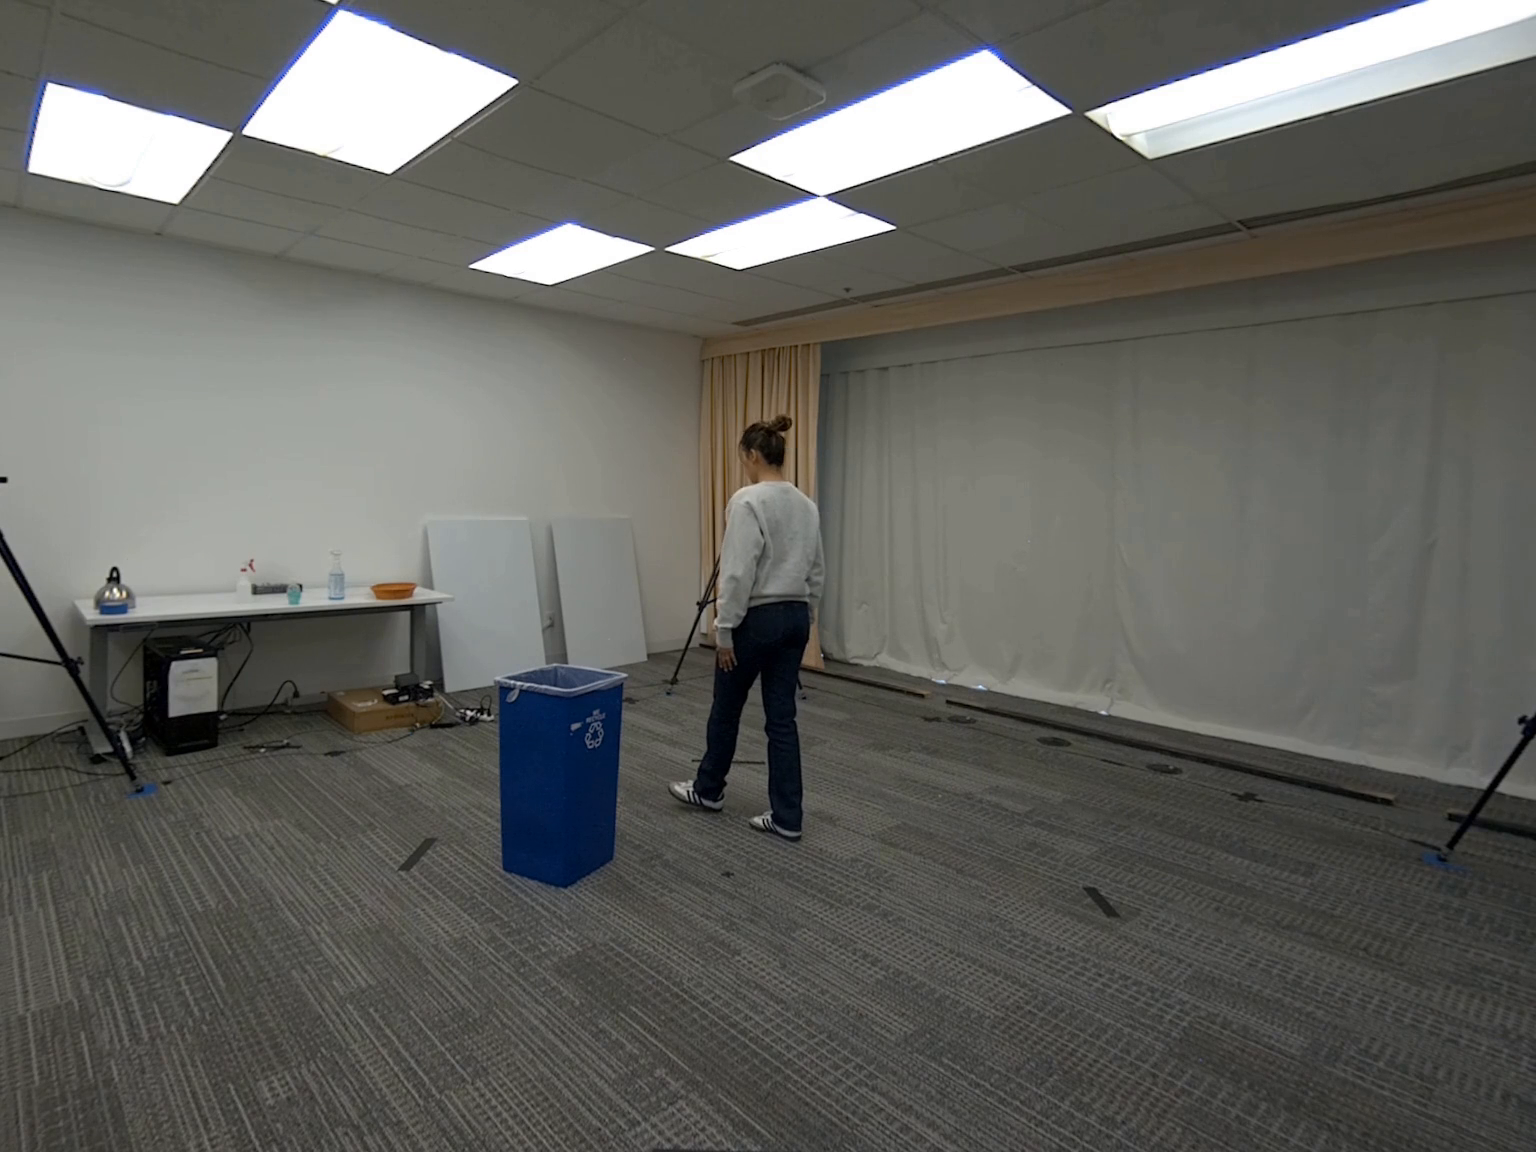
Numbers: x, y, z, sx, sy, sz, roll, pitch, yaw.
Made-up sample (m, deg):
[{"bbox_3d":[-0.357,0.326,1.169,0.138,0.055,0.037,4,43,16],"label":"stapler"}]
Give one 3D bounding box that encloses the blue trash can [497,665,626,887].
[{"bbox_3d":[-0.781,0.727,3.147,0.386,0.712,0.367,4,4,27],"label":"blue trash can"}]
